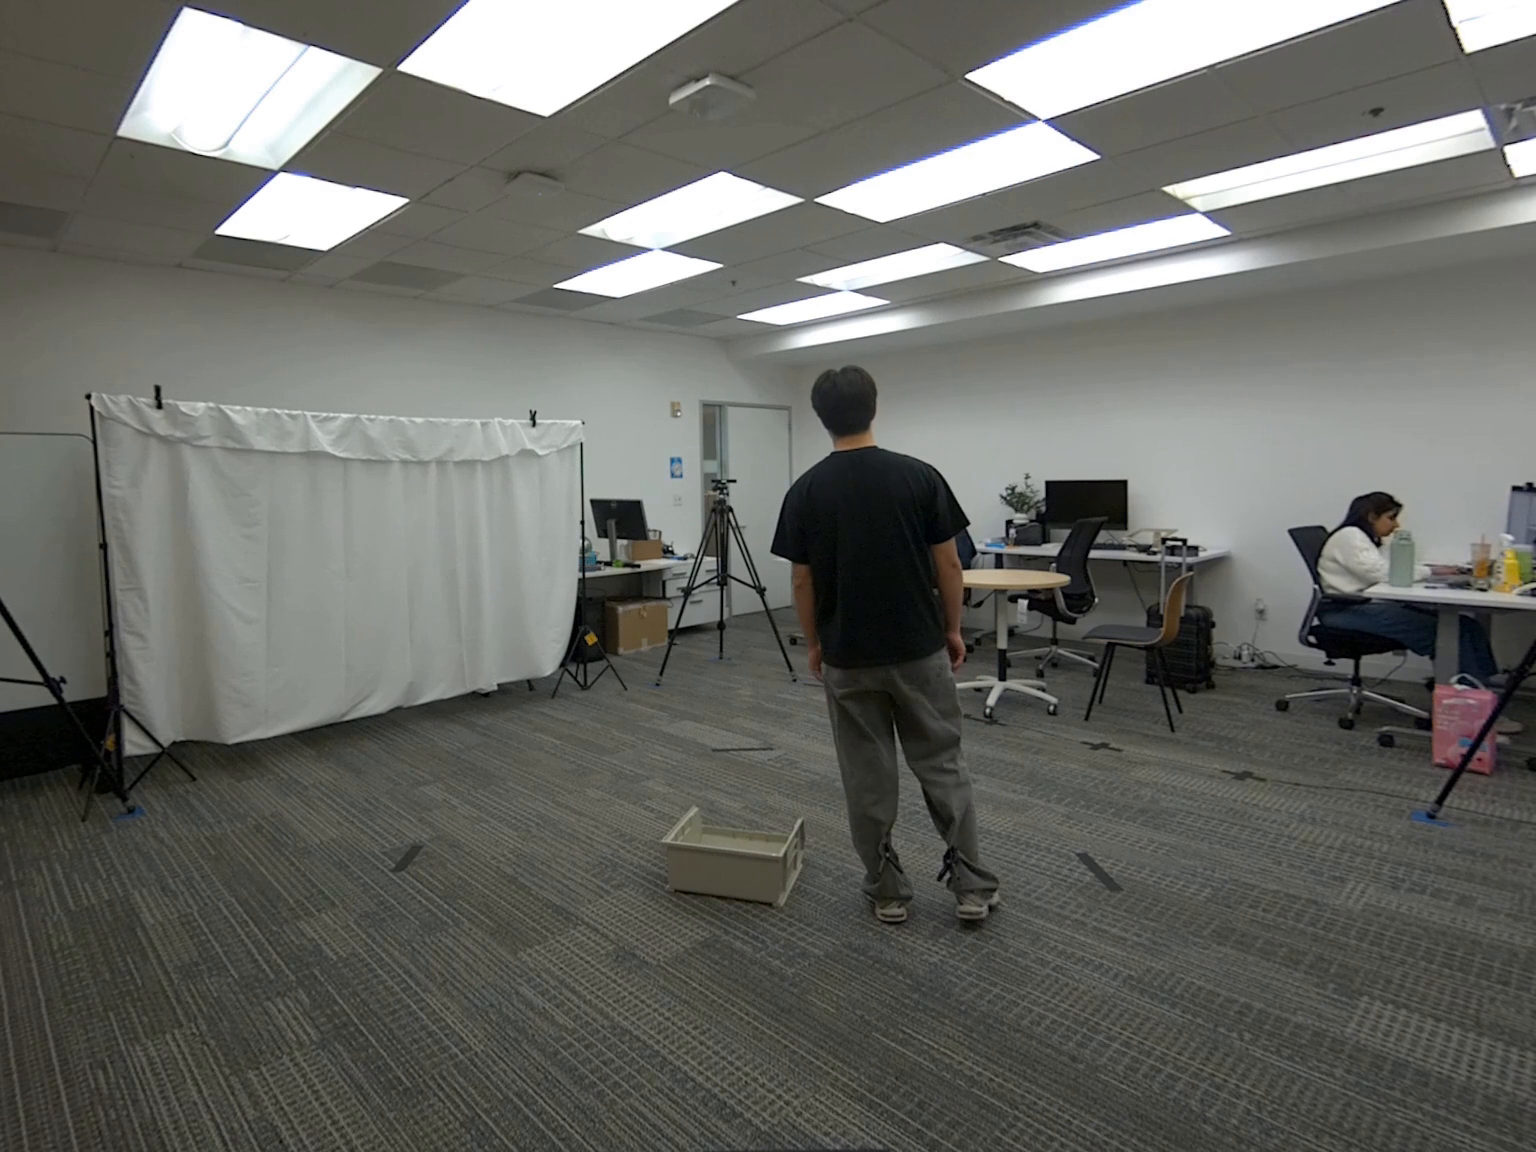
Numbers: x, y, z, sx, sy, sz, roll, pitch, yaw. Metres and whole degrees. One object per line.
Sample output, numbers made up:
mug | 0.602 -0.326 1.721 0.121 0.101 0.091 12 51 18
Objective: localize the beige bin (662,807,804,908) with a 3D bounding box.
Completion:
beige bin | -0.109 0.971 3.012 0.429 0.188 0.373 1 7 16
